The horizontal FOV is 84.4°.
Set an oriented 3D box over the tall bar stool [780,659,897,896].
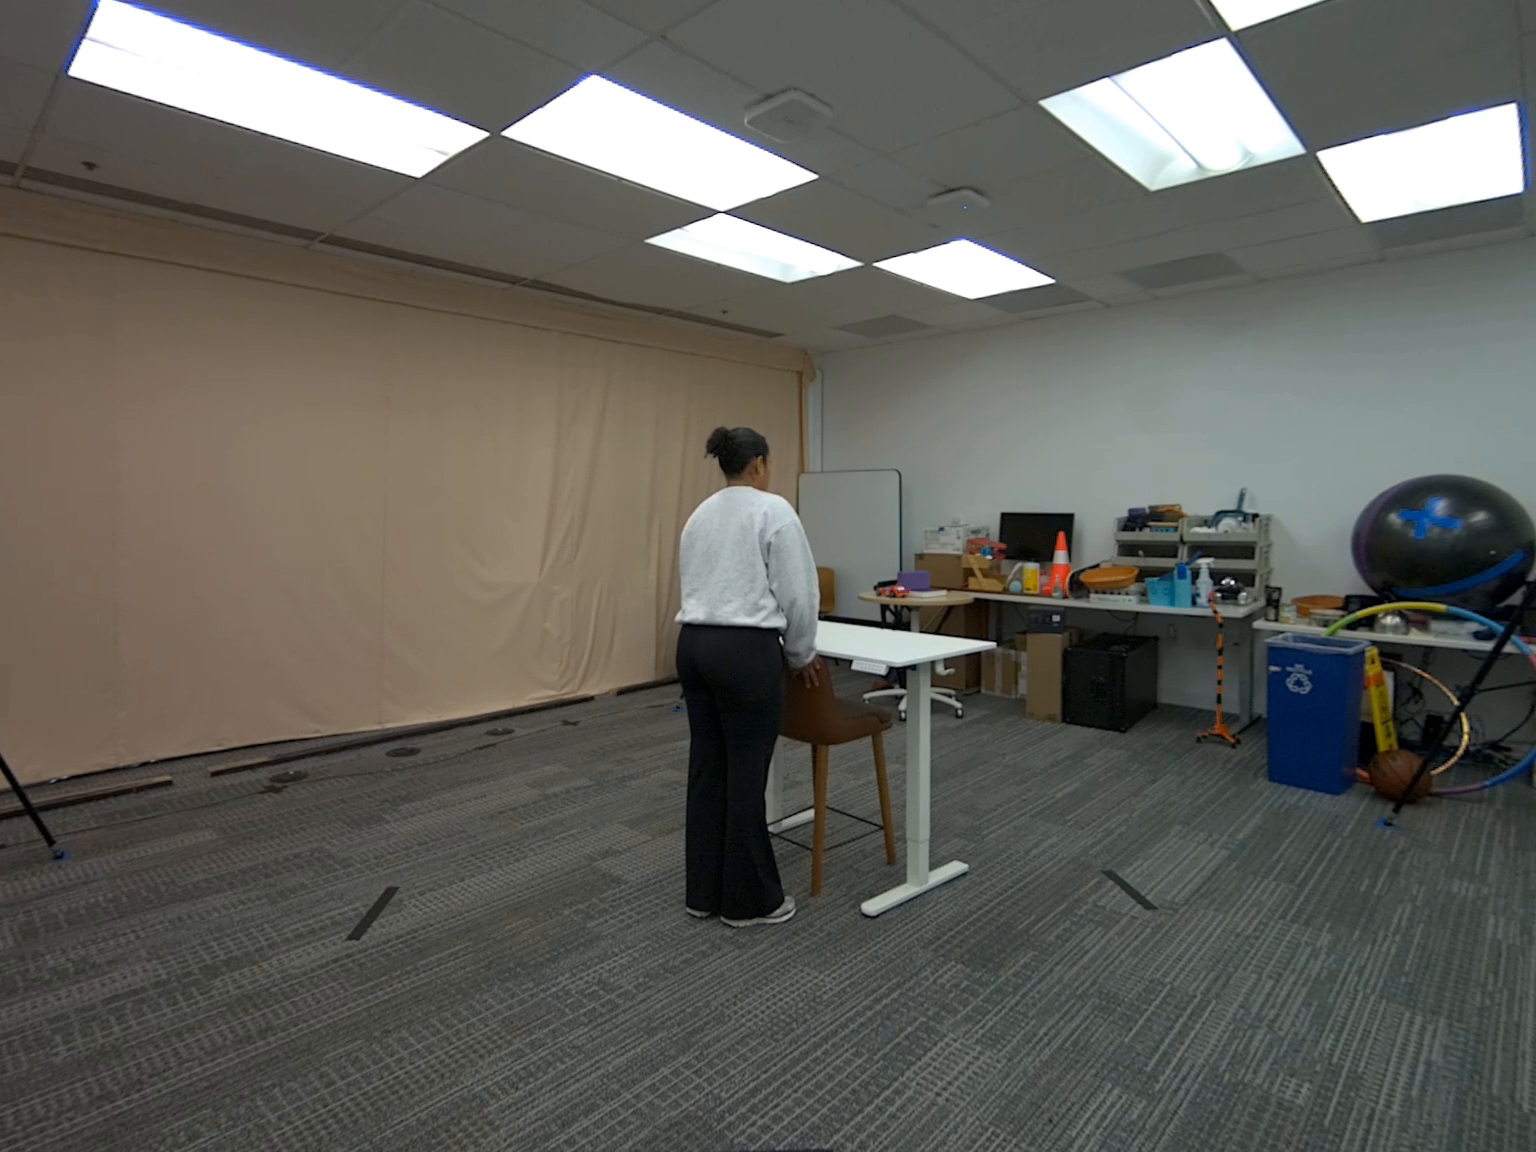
[{"bbox_3d":[0.194,0.688,3.252,0.454,0.887,0.471,-6,6,-42],"label":"tall bar stool"}]
